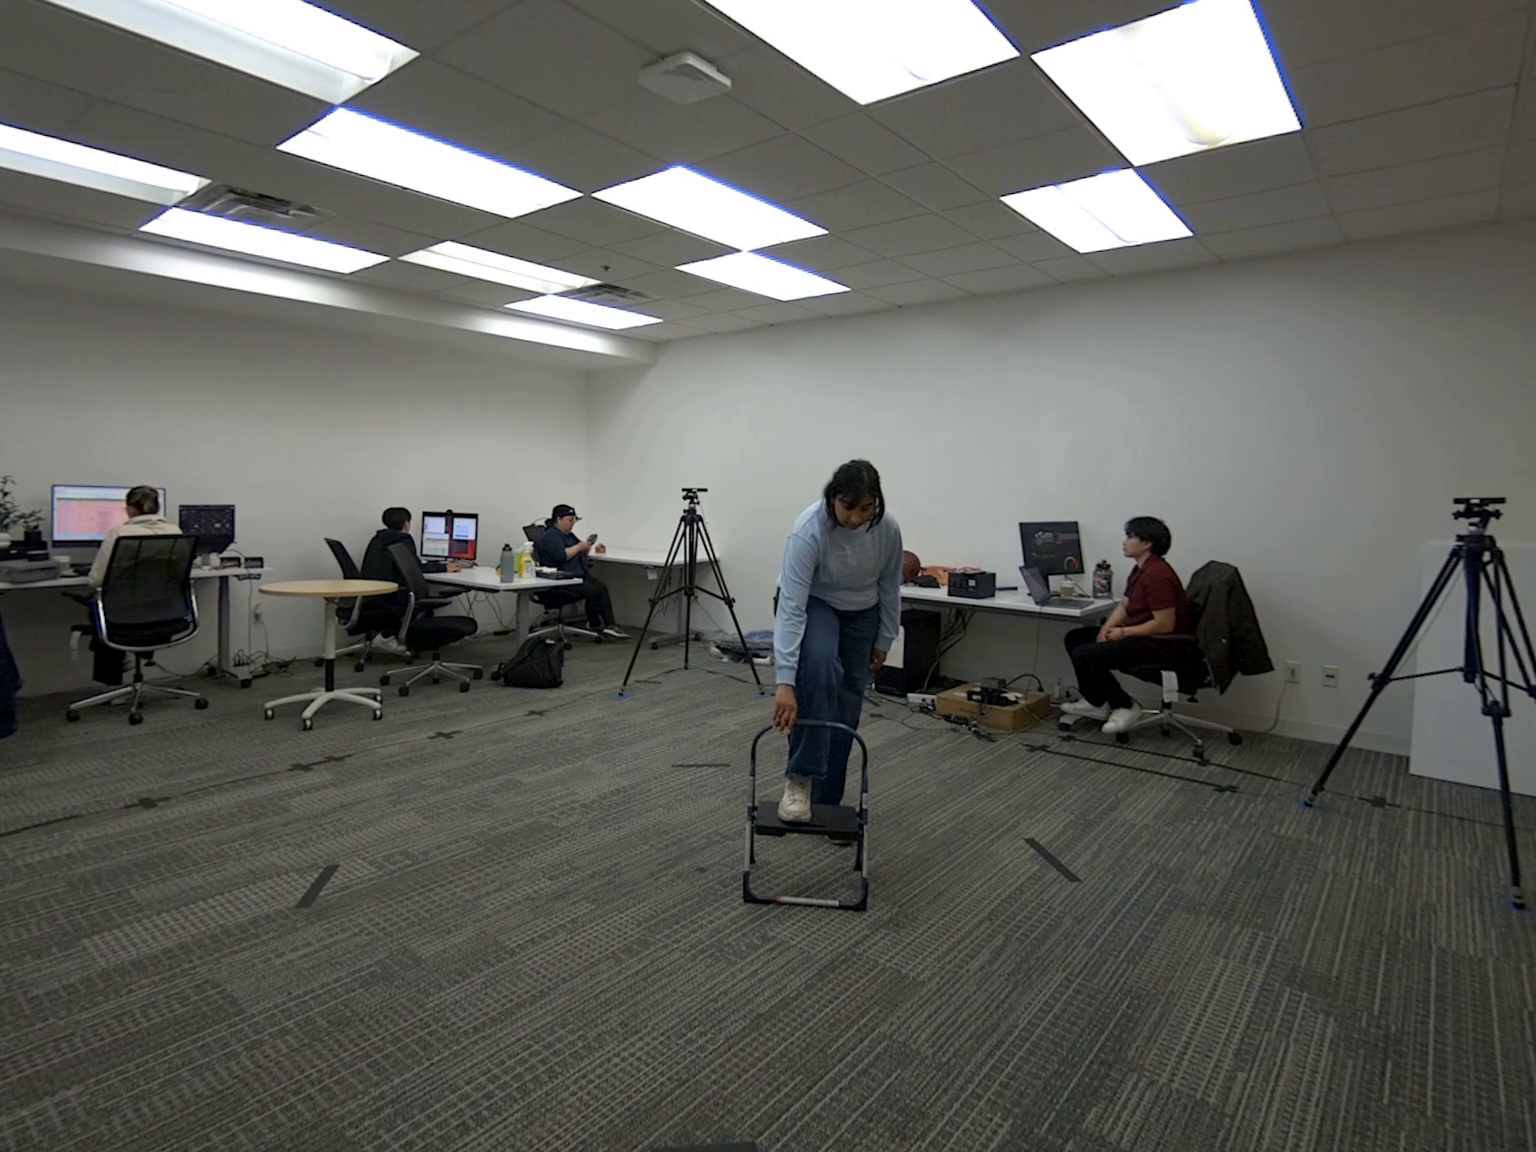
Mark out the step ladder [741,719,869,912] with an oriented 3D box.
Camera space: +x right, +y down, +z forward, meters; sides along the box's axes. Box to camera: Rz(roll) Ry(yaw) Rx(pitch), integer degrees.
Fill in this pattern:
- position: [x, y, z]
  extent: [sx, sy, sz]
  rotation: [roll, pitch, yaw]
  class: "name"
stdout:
- position: [0.126, 0.787, 2.995]
  extent: [0.433, 0.604, 0.348]
  rotation: [1, 3, 4]
  class: "step ladder"
